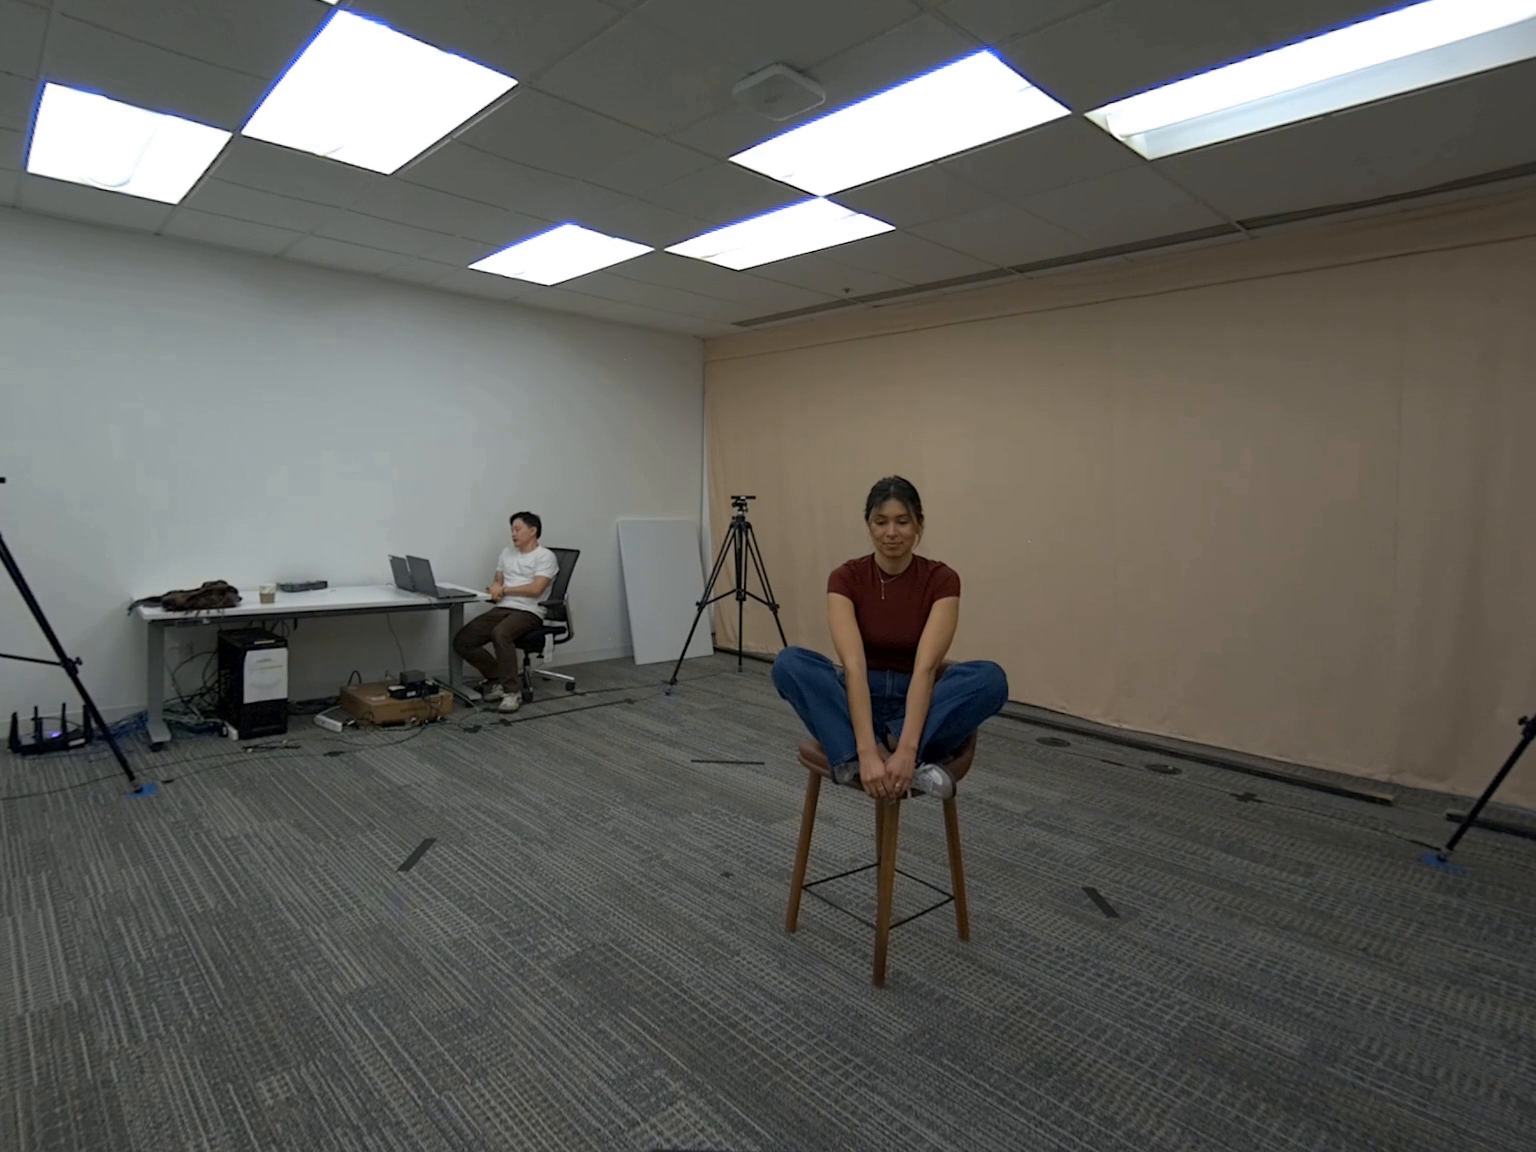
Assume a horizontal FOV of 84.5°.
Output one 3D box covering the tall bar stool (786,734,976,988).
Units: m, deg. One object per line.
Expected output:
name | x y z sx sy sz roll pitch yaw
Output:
tall bar stool | 0.375 0.721 2.670 0.456 0.888 0.468 1 4 -40
